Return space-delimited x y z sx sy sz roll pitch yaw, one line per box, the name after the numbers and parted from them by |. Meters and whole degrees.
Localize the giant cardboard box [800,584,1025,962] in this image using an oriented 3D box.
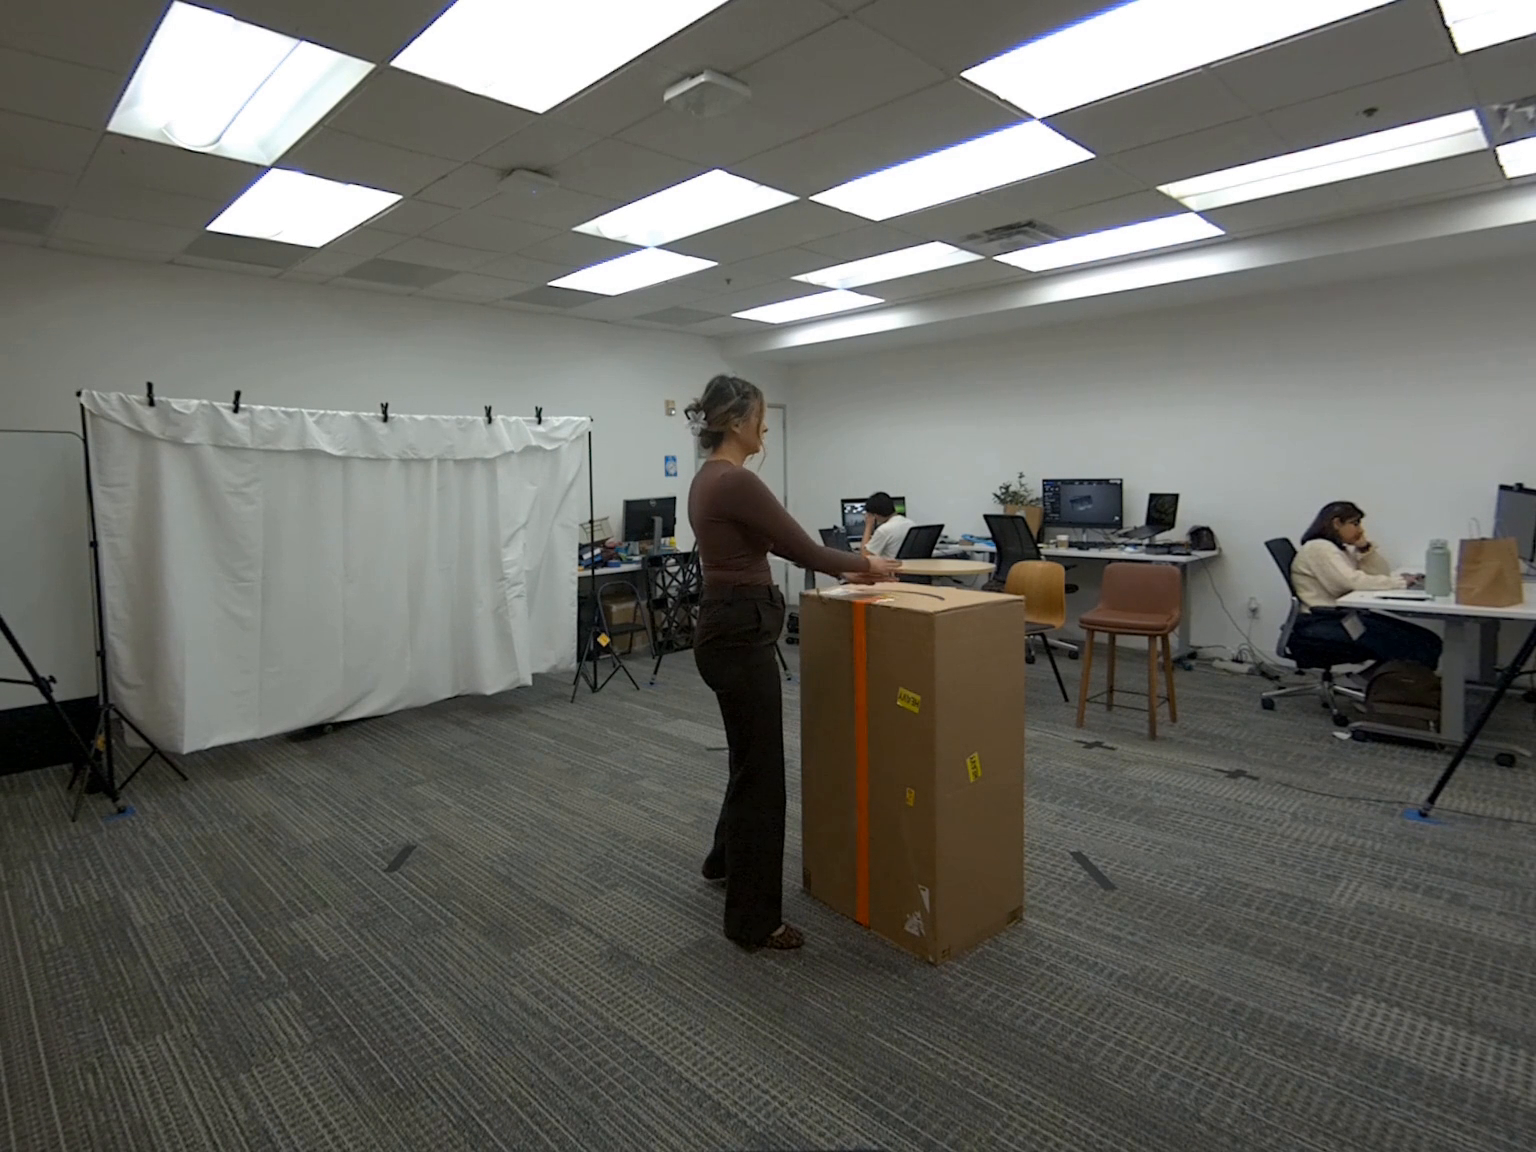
0.452 0.563 2.750 0.436 1.023 0.601 -5 6 -36 | giant cardboard box
